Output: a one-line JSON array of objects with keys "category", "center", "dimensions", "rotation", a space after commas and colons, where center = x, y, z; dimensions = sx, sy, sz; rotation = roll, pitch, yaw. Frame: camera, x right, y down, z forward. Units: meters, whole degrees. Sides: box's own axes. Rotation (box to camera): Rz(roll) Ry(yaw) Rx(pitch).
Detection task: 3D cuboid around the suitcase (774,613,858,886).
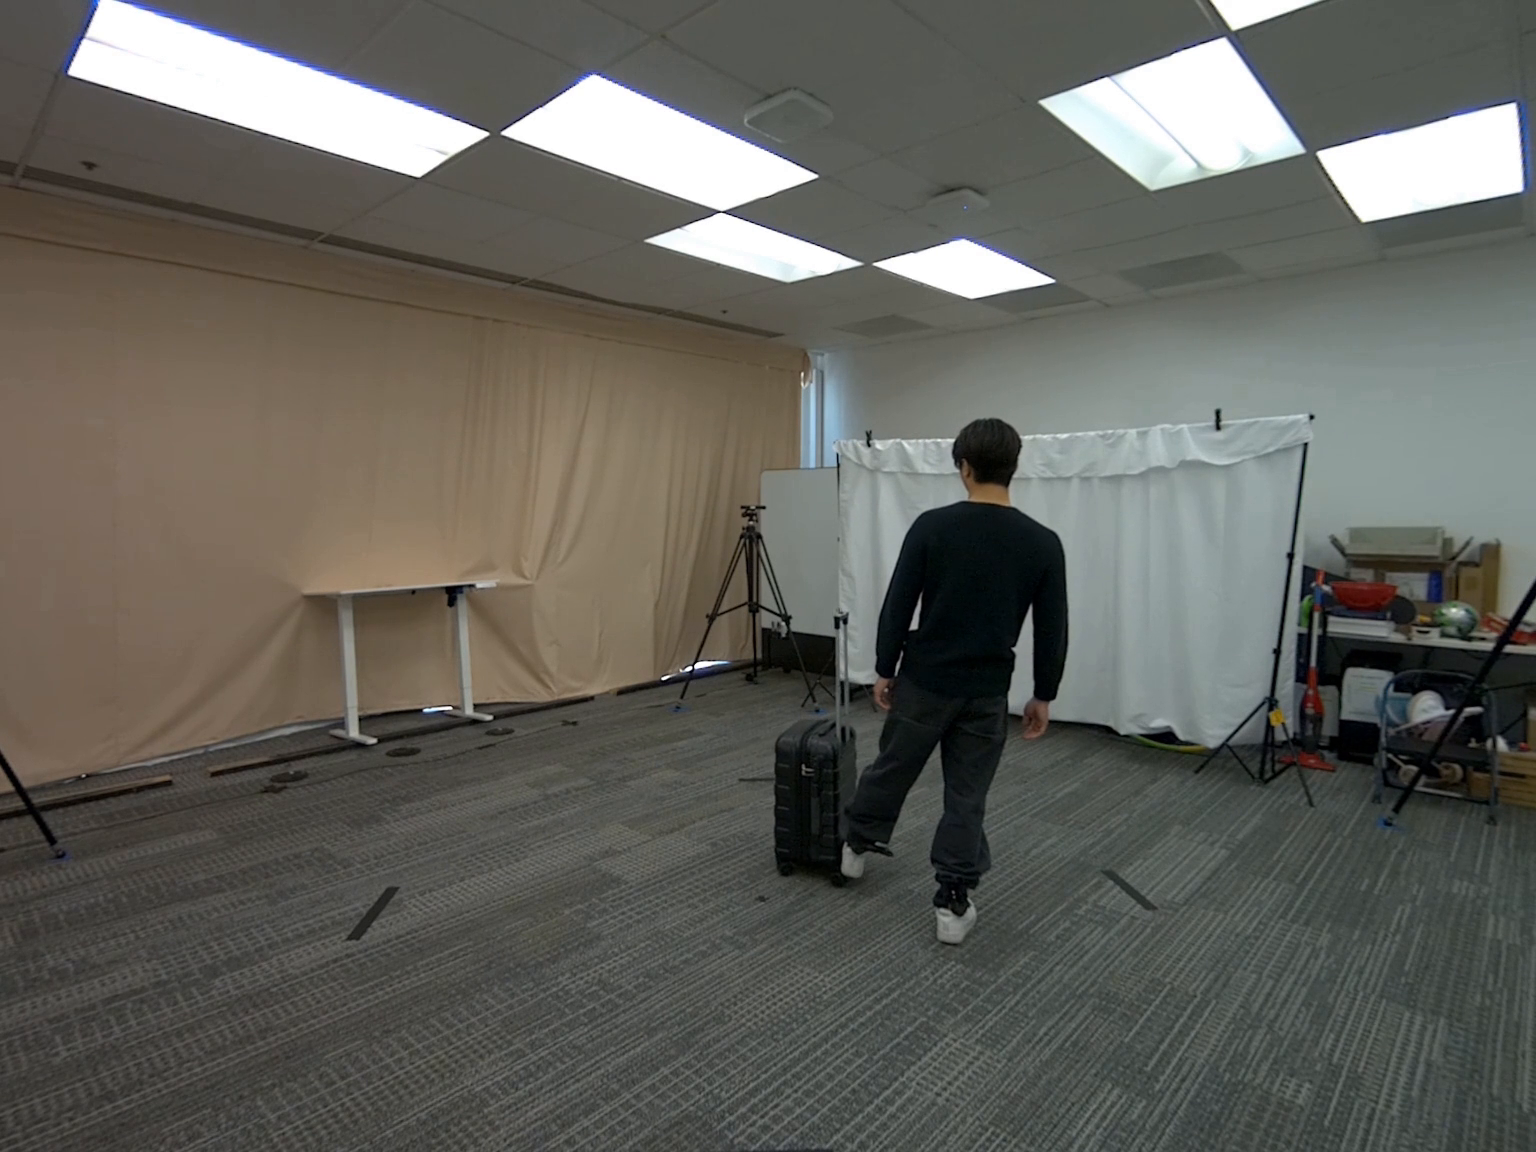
[{"category": "suitcase", "center": [0.182, 0.641, 3.247], "dimensions": [0.263, 0.977, 0.376], "rotation": [-1, 2, 22]}]
